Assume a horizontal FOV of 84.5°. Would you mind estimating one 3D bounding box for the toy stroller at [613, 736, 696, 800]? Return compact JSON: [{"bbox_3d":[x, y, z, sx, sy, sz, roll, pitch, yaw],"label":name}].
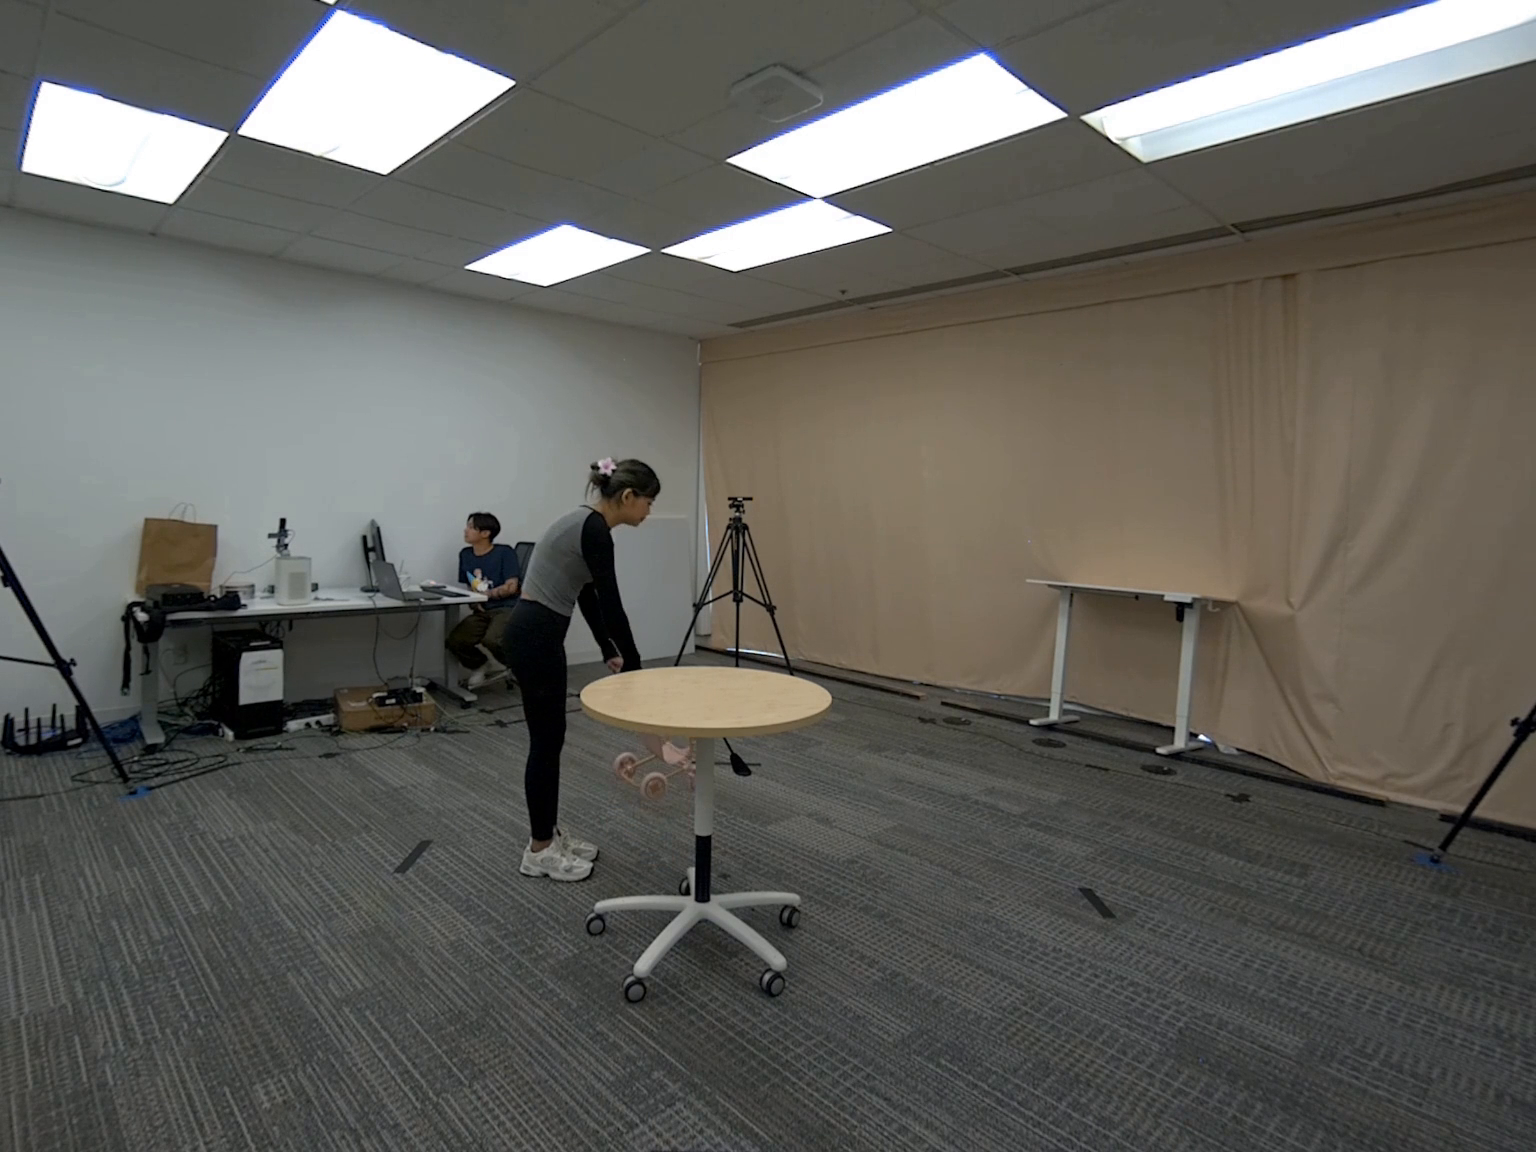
[{"bbox_3d":[-0.409,0.613,3.268,0.335,0.533,0.288,-4,6,-29],"label":"toy stroller"}]
